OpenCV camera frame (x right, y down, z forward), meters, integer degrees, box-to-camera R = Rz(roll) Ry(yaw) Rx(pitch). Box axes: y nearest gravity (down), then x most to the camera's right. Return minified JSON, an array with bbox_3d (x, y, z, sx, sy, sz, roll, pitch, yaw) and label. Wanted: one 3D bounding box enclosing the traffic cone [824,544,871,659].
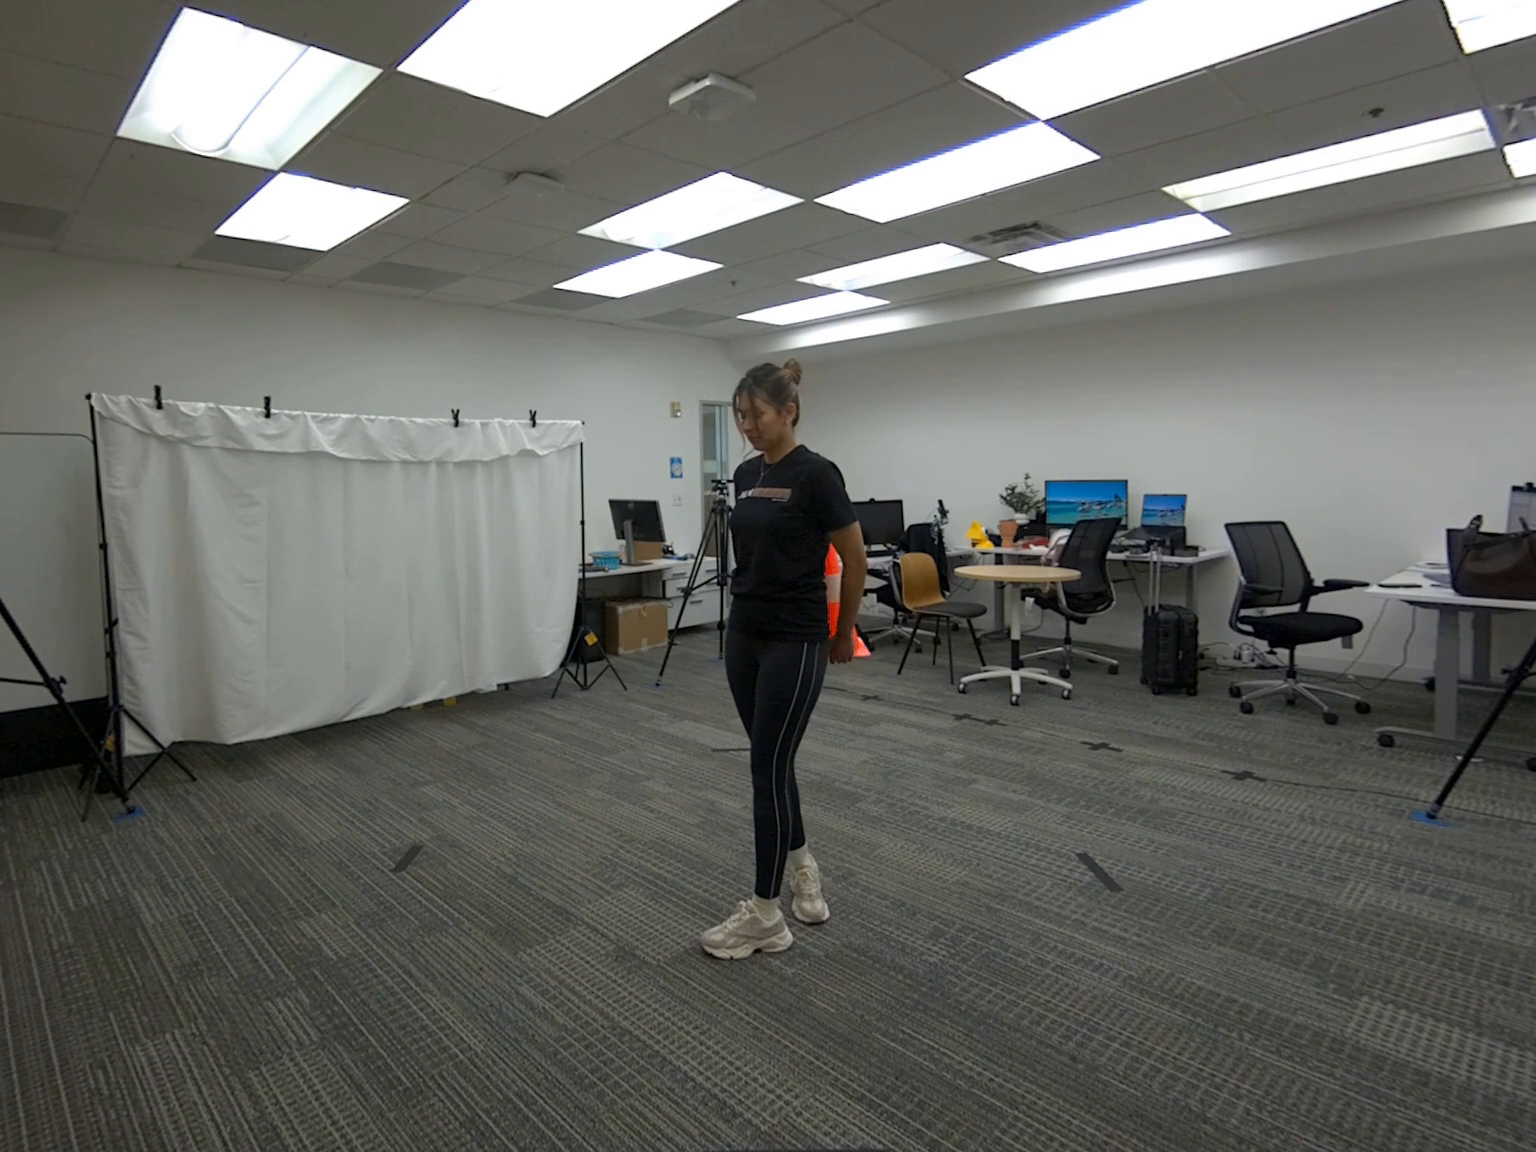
[{"bbox_3d":[0.197,0.056,2.773,0.205,0.380,0.205,-3,10,1],"label":"traffic cone"}]
